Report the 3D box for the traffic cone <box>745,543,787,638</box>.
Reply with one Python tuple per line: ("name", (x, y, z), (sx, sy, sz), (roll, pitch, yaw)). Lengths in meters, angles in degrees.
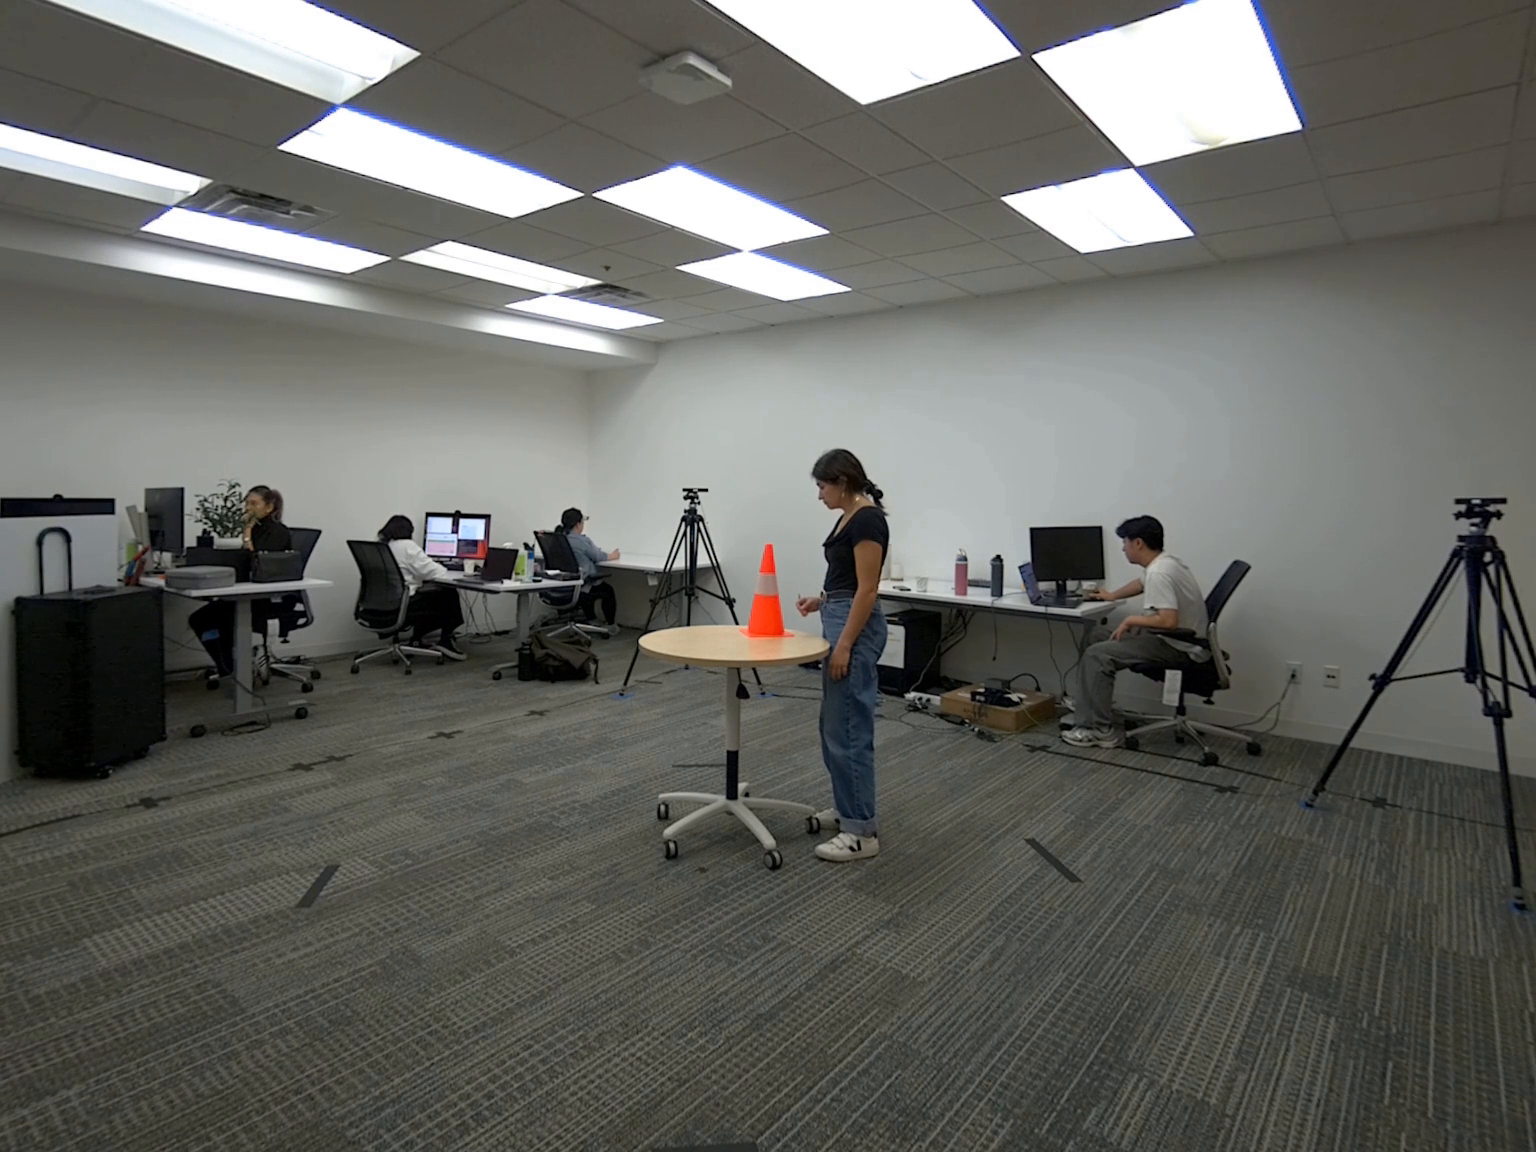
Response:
("traffic cone", (0.009, 0.048, 3.622), (0.201, 0.382, 0.208), (3, 5, -16))
